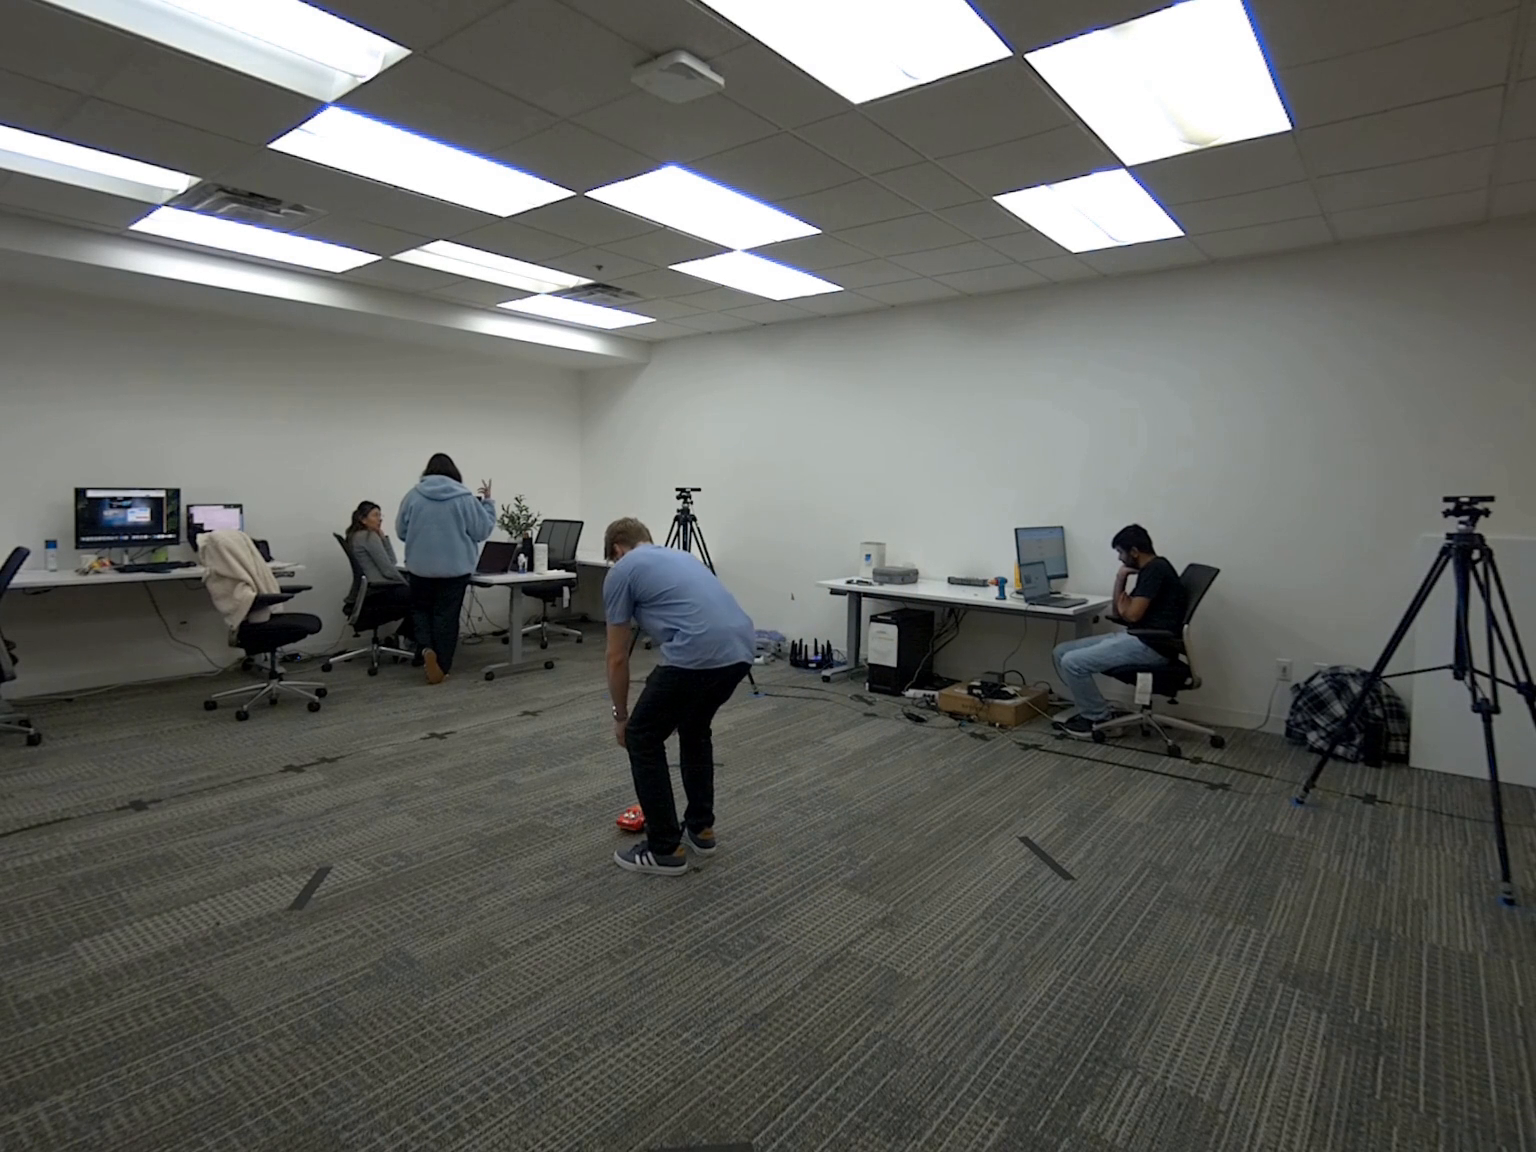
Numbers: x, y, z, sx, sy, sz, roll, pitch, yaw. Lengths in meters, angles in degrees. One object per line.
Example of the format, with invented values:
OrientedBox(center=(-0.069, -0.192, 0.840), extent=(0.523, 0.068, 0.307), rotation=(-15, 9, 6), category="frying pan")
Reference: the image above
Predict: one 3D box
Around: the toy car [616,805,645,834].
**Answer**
OrientedBox(center=(-0.550, 1.000, 3.511), extent=(0.133, 0.083, 0.247), rotation=(4, -6, 23), category="toy car")
